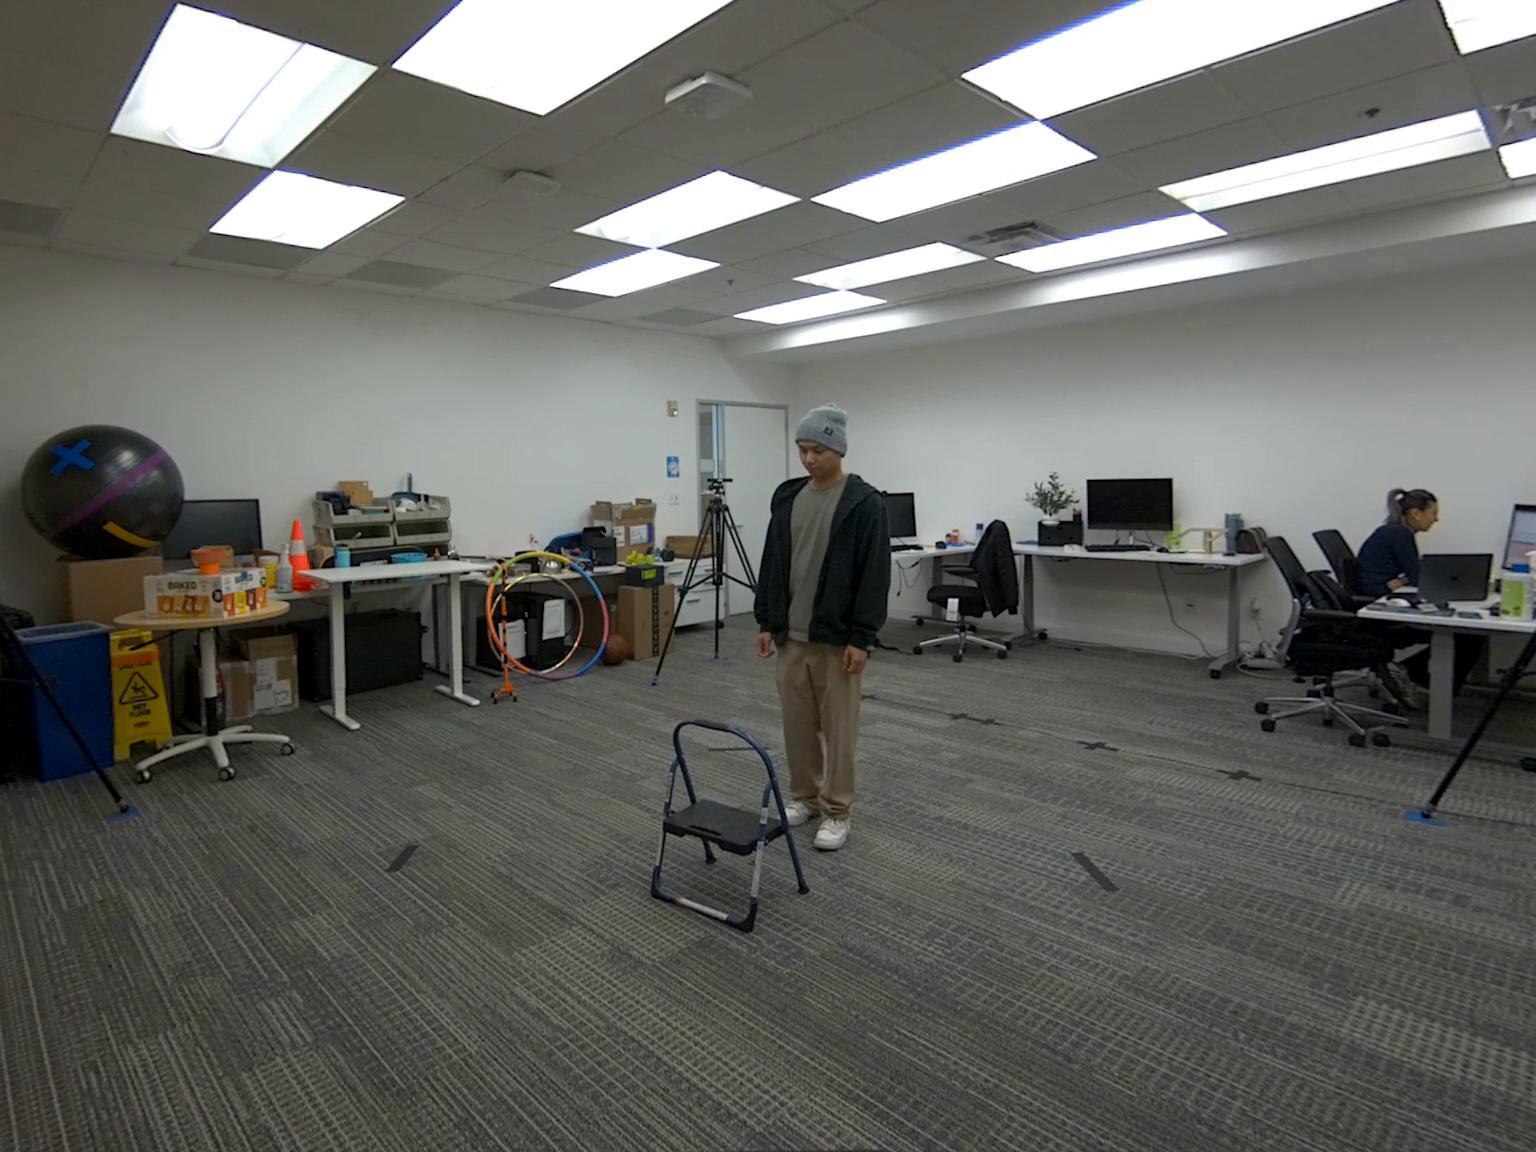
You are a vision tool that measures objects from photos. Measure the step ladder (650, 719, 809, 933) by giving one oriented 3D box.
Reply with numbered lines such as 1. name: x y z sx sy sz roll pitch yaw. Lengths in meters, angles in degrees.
1. step ladder: -0.135 0.770 2.866 0.443 0.604 0.341 2 5 35
